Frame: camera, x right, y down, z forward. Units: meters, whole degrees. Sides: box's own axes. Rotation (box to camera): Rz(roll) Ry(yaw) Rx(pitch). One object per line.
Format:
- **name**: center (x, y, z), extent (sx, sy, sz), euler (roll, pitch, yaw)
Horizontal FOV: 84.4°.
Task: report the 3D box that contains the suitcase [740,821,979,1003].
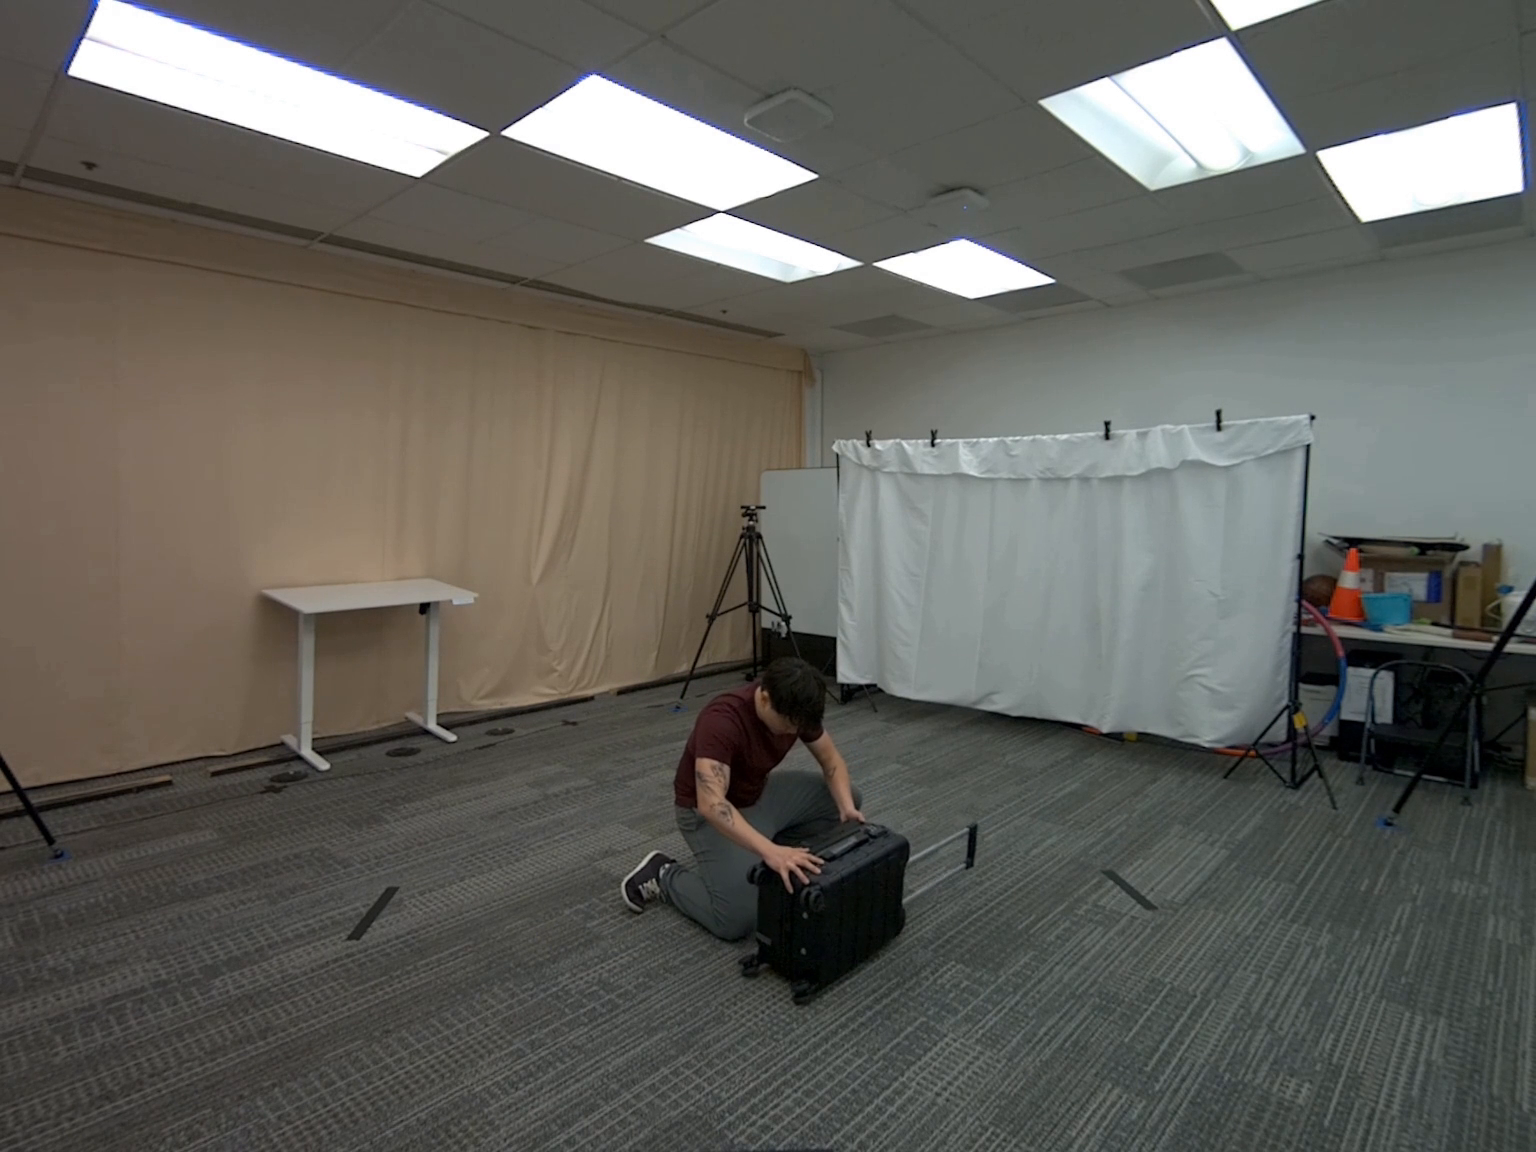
- **suitcase**: center (0.340, 0.965, 2.728), extent (0.266, 0.382, 0.950), euler (7, 10, 41)
